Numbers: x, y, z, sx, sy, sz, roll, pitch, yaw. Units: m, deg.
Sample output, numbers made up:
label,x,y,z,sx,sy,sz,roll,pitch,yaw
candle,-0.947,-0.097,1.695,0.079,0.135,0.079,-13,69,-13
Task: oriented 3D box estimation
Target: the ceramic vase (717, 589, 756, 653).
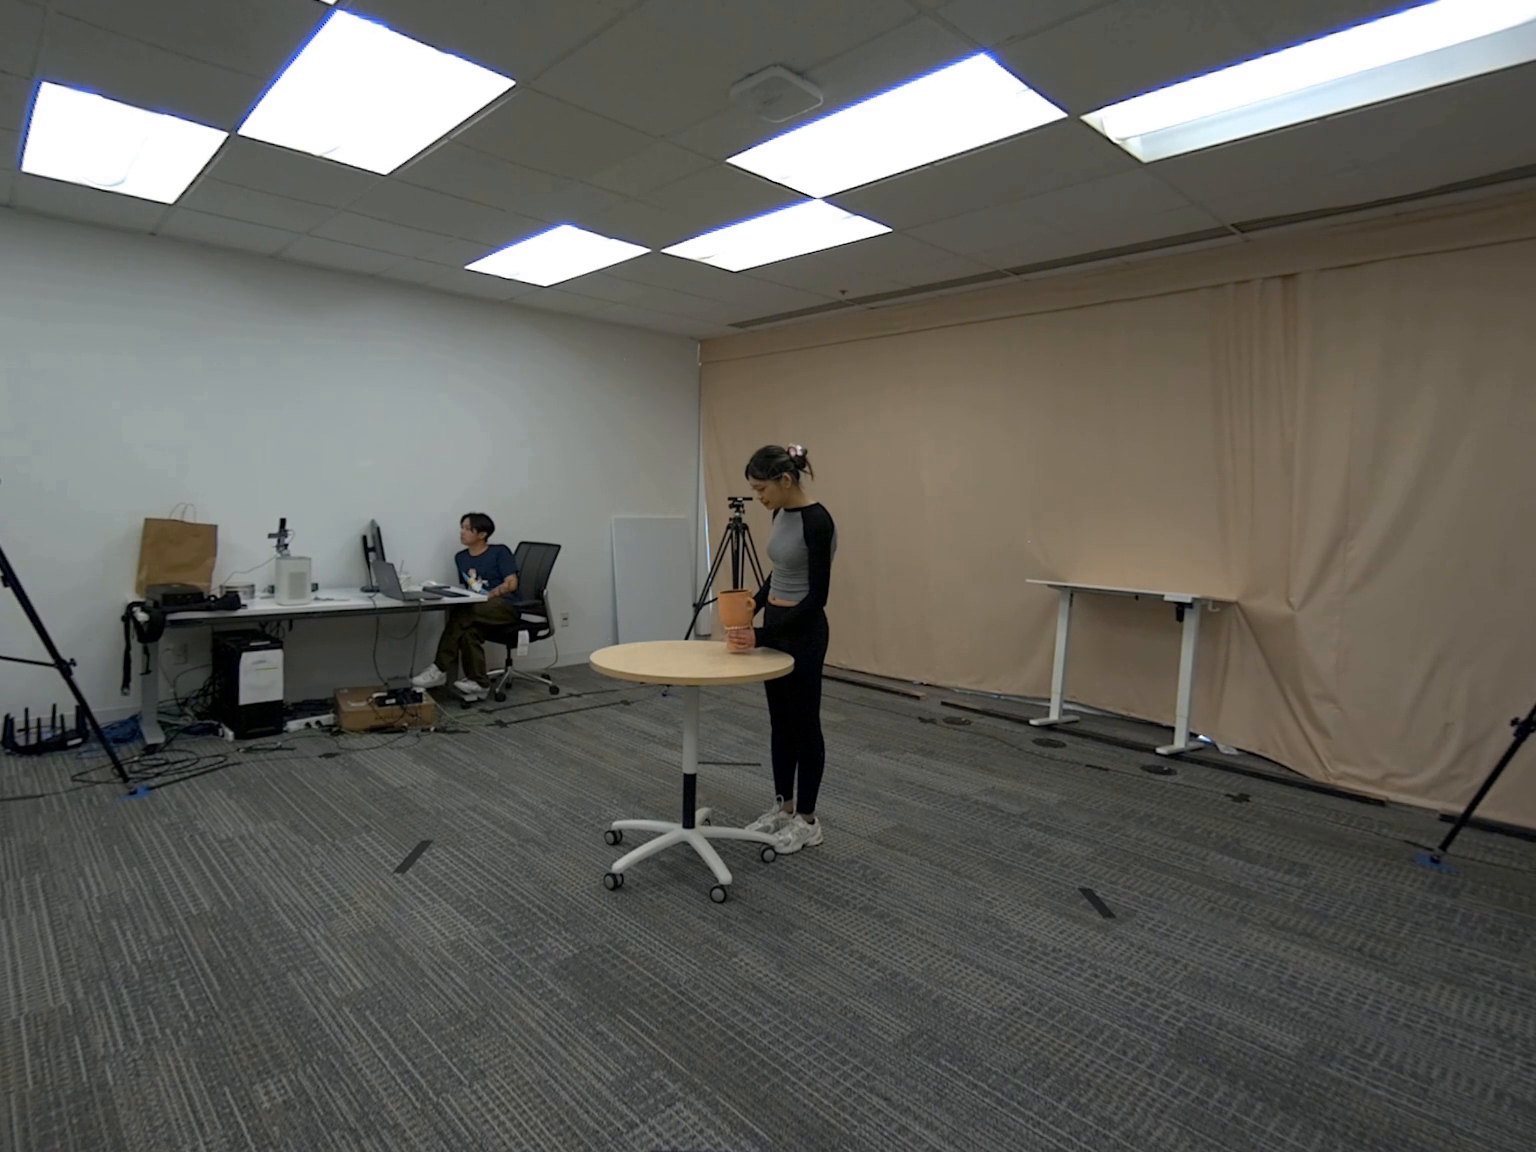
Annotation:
label,x,y,z,sx,sy,sz,roll,pitch,yaw
ceramic vase,-0.122,0.168,3.255,0.134,0.219,0.160,-6,4,-10
